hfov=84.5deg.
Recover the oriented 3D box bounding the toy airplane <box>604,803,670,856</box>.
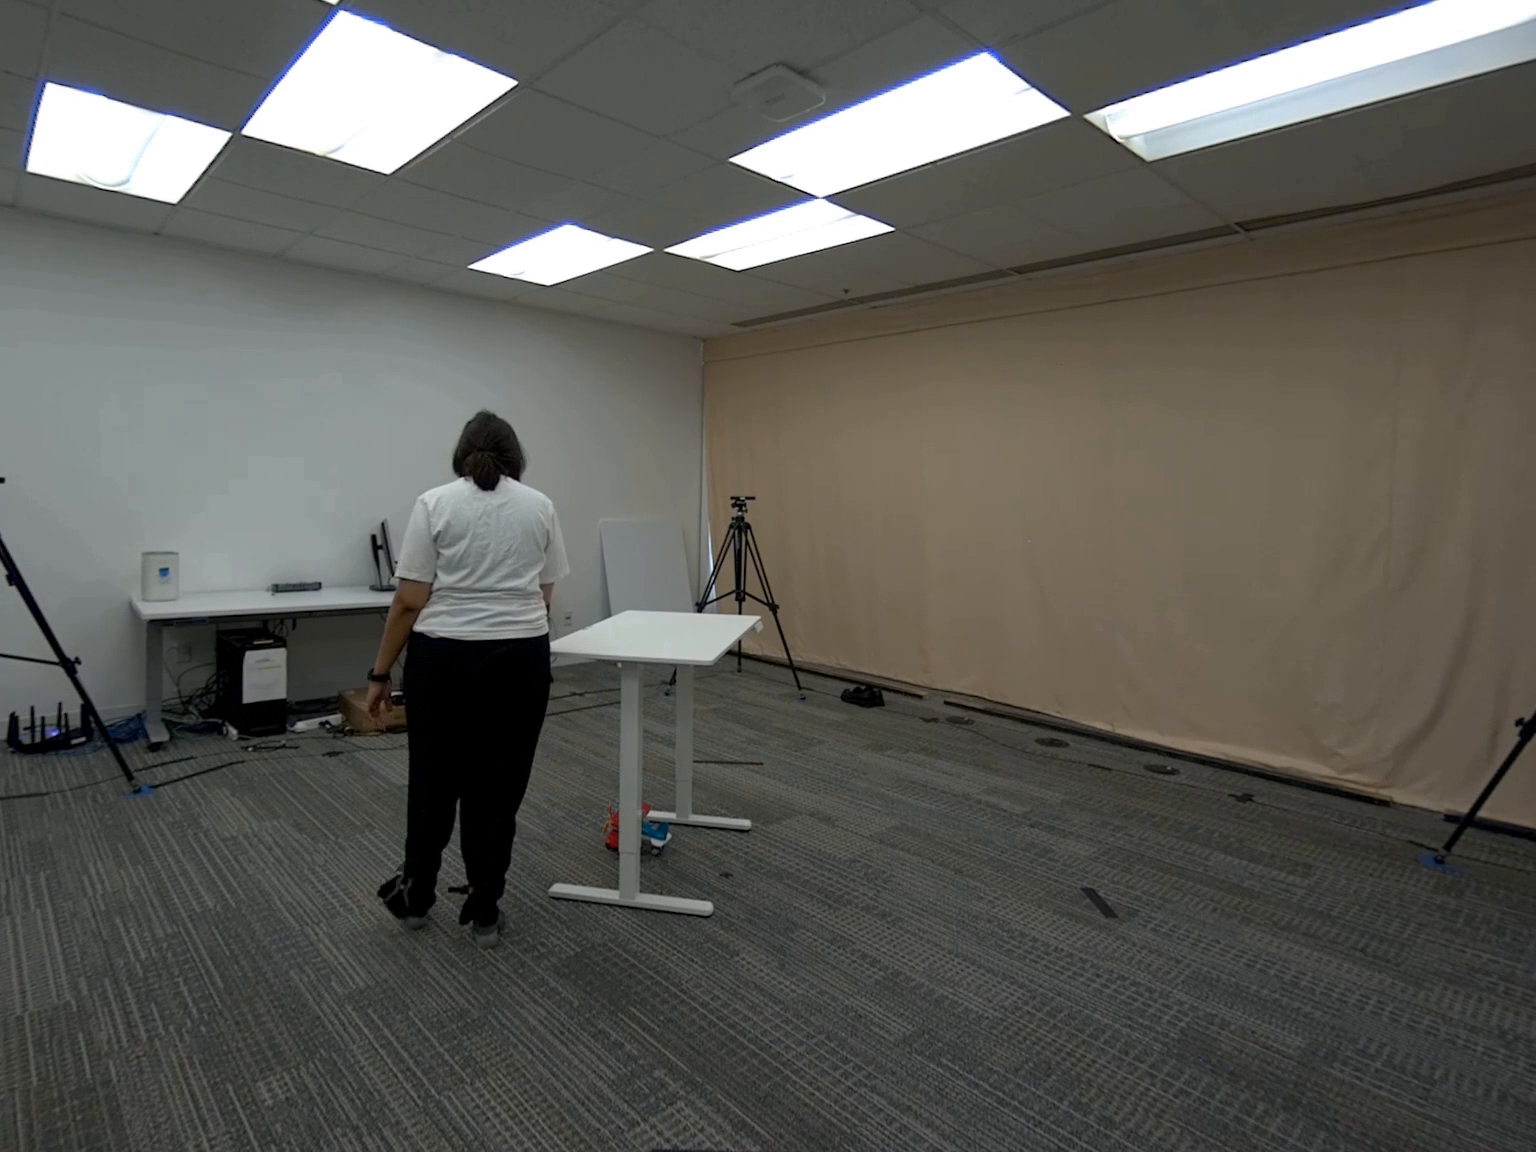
[{"bbox_3d":[-0.522,1.002,3.326,0.257,0.156,0.253,0,5,-9],"label":"toy airplane"}]
